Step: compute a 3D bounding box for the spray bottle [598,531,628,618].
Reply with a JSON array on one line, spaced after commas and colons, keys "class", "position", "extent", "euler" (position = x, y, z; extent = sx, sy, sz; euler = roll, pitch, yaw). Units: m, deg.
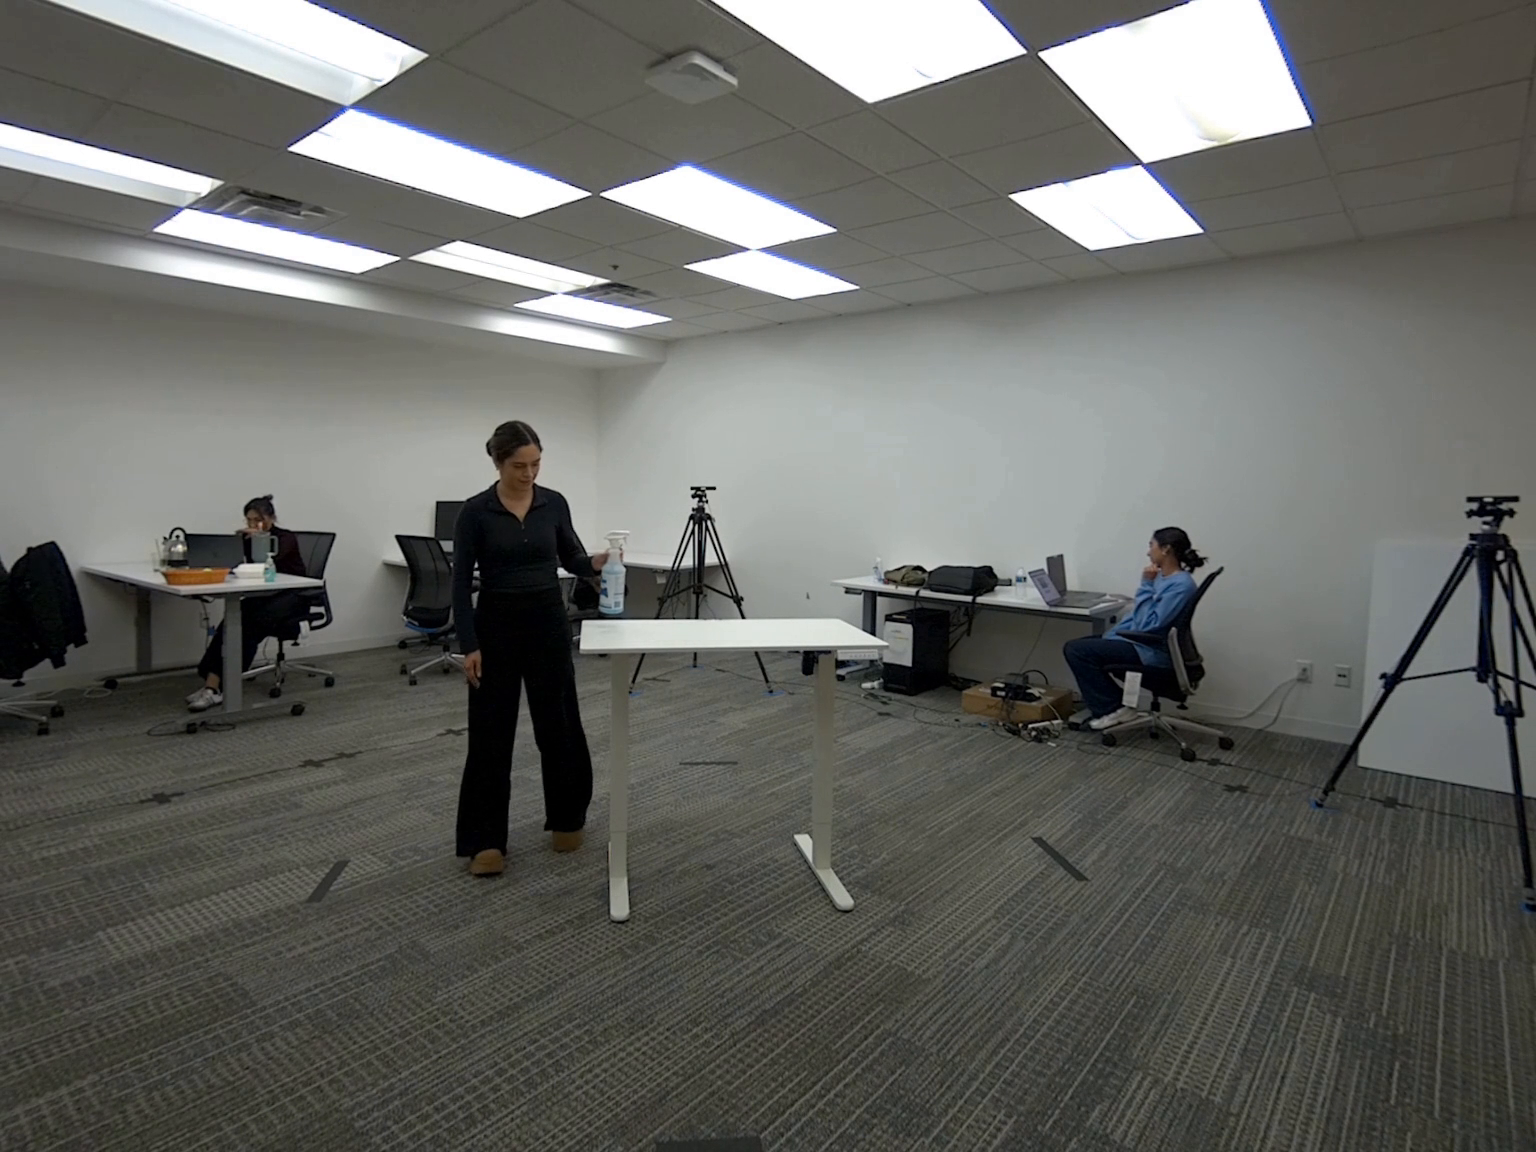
[{"class": "spray bottle", "position": [-0.578, -0.016, 3.062], "extent": [0.092, 0.295, 0.085], "euler": [9, 8, 23]}]
